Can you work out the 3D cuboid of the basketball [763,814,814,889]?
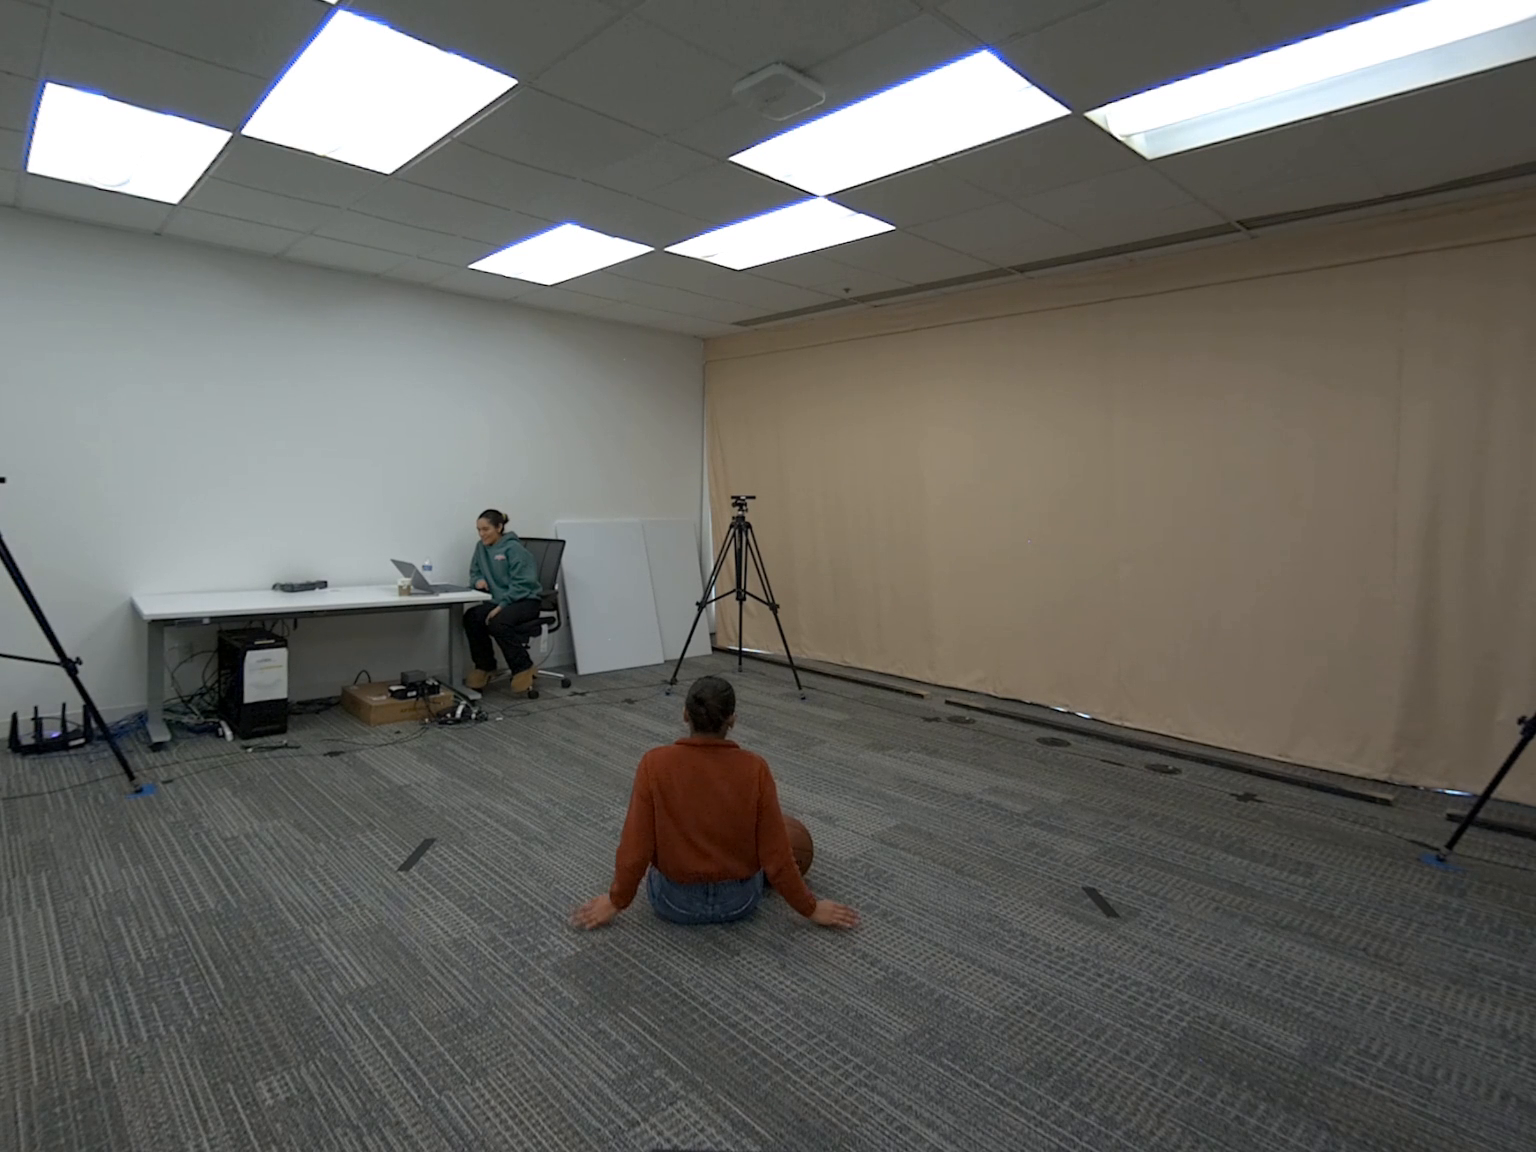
[{"bbox_3d":[0.047,0.991,3.052,0.236,0.235,0.237,1,4,-1],"label":"basketball"}]
